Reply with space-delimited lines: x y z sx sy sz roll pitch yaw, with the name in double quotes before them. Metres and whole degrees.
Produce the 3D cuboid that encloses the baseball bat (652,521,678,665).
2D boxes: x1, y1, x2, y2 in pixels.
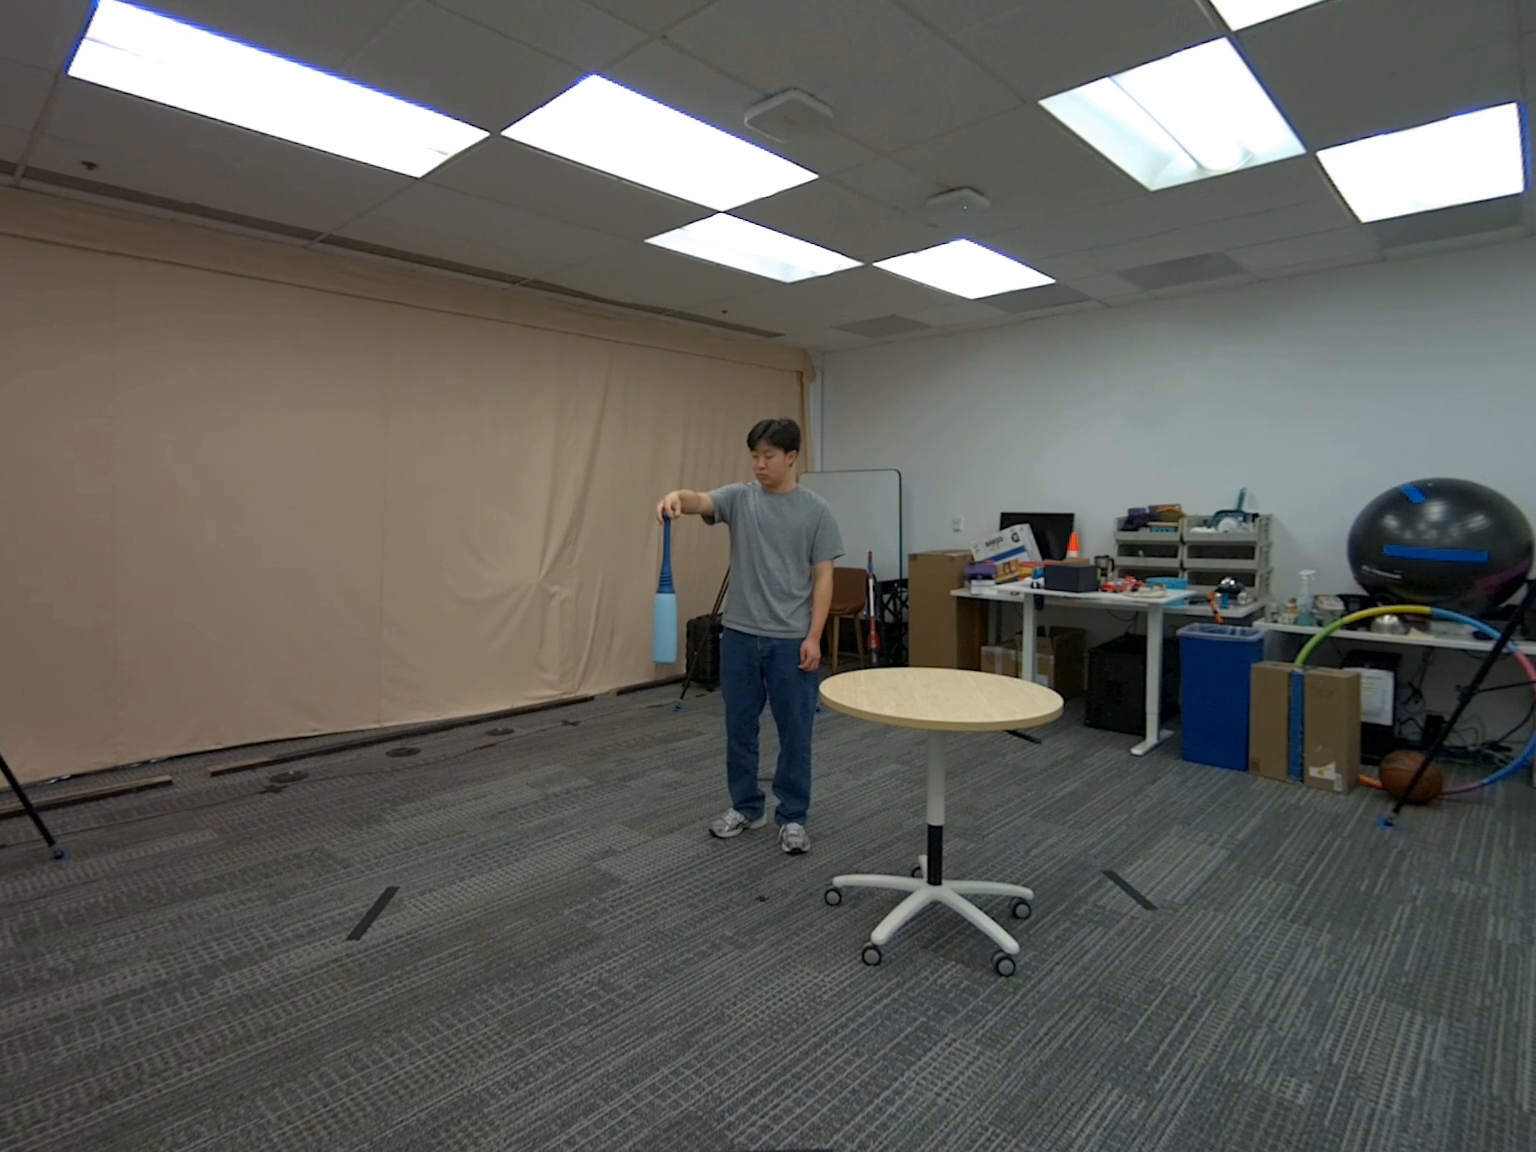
"baseball bat" -0.372 0.043 3.016 0.089 0.543 0.089 -1 -1 -2
